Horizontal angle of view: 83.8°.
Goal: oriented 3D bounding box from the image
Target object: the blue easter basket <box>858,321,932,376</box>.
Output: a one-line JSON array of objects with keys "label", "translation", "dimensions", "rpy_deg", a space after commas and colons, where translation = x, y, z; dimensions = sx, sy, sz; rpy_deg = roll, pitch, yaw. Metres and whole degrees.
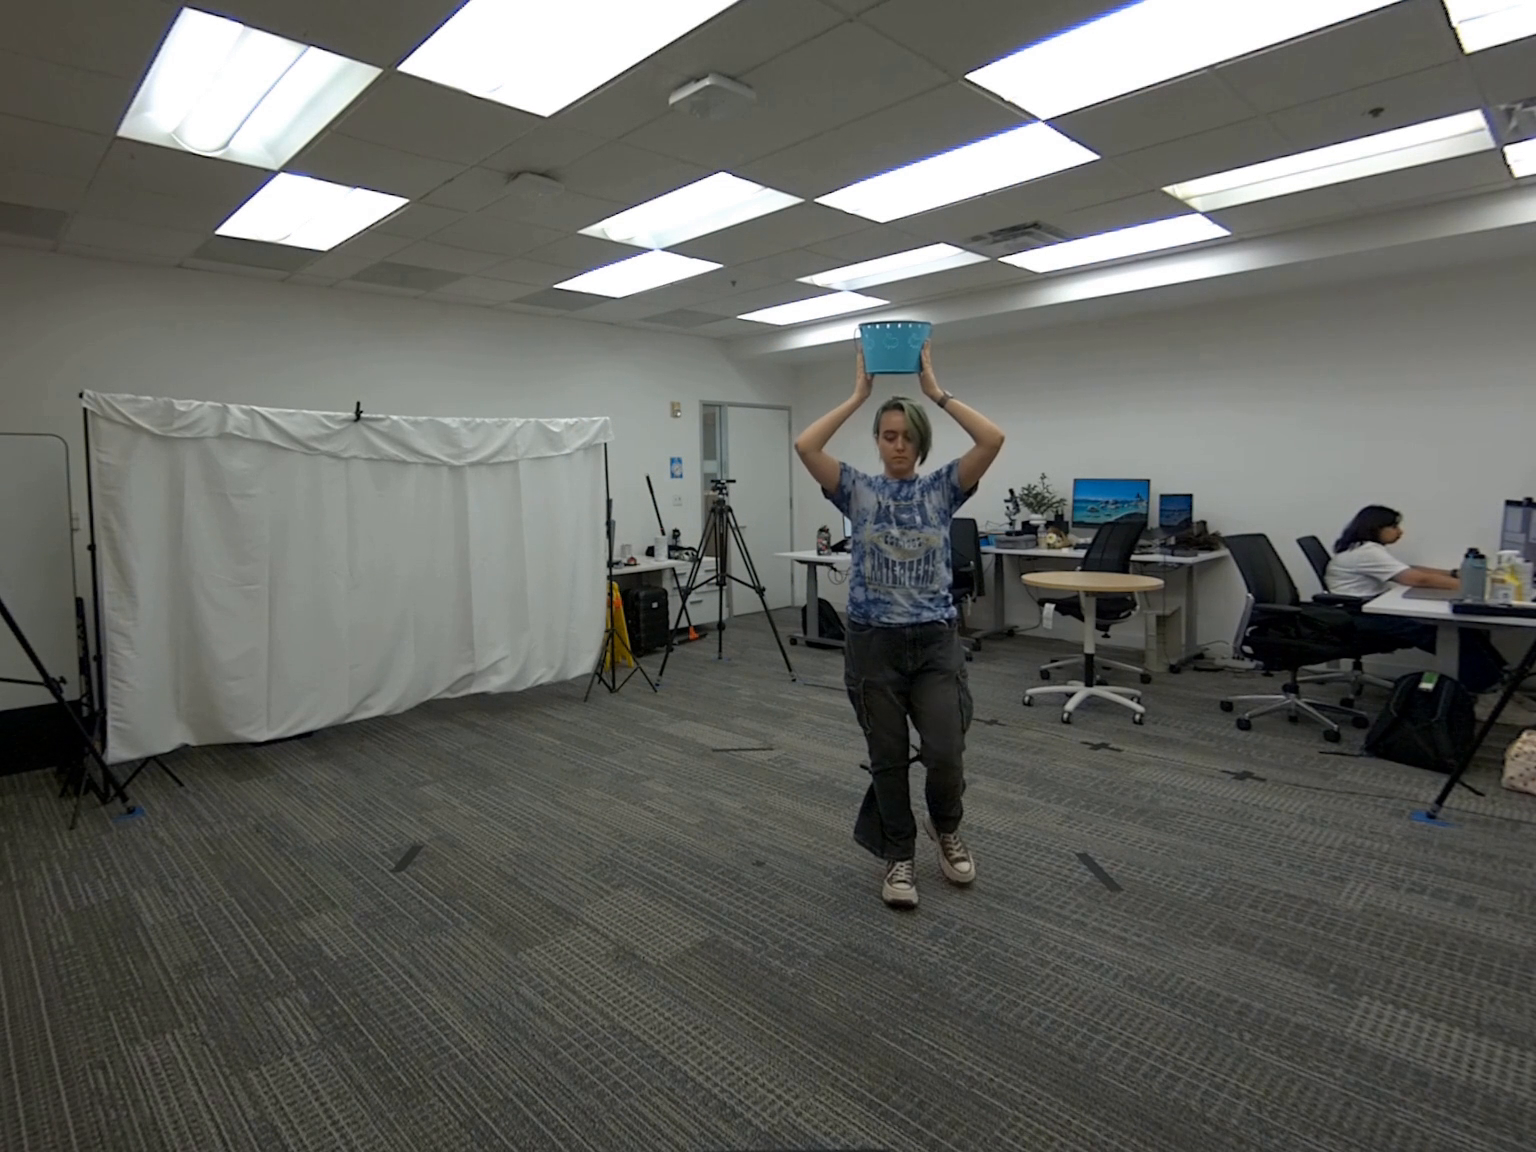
[{"label": "blue easter basket", "translation": [0.419, -0.725, 2.712], "dimensions": [0.243, 0.154, 0.246], "rpy_deg": [-1, 12, -1]}]
